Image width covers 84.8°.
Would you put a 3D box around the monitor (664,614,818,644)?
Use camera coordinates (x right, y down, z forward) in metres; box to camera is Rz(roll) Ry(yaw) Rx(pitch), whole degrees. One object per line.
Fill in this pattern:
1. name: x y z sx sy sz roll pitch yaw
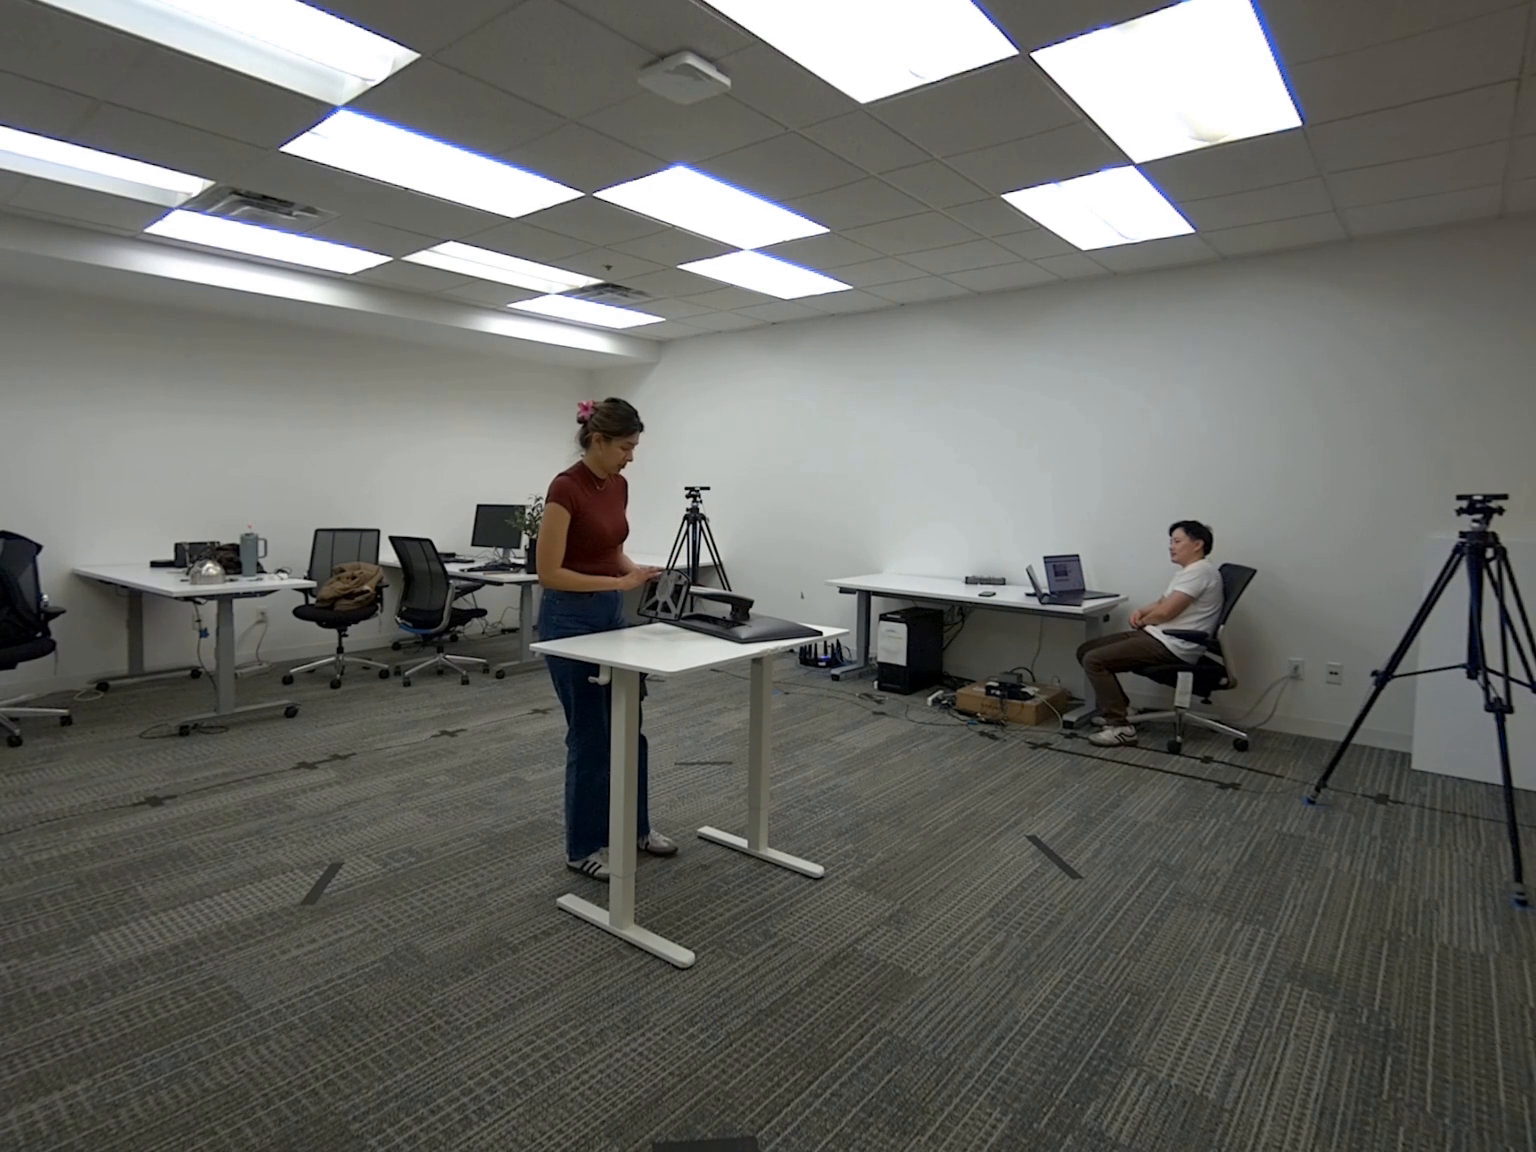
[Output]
1. monitor: -0.178 0.130 3.036 0.504 0.187 0.557 20 -5 -33
